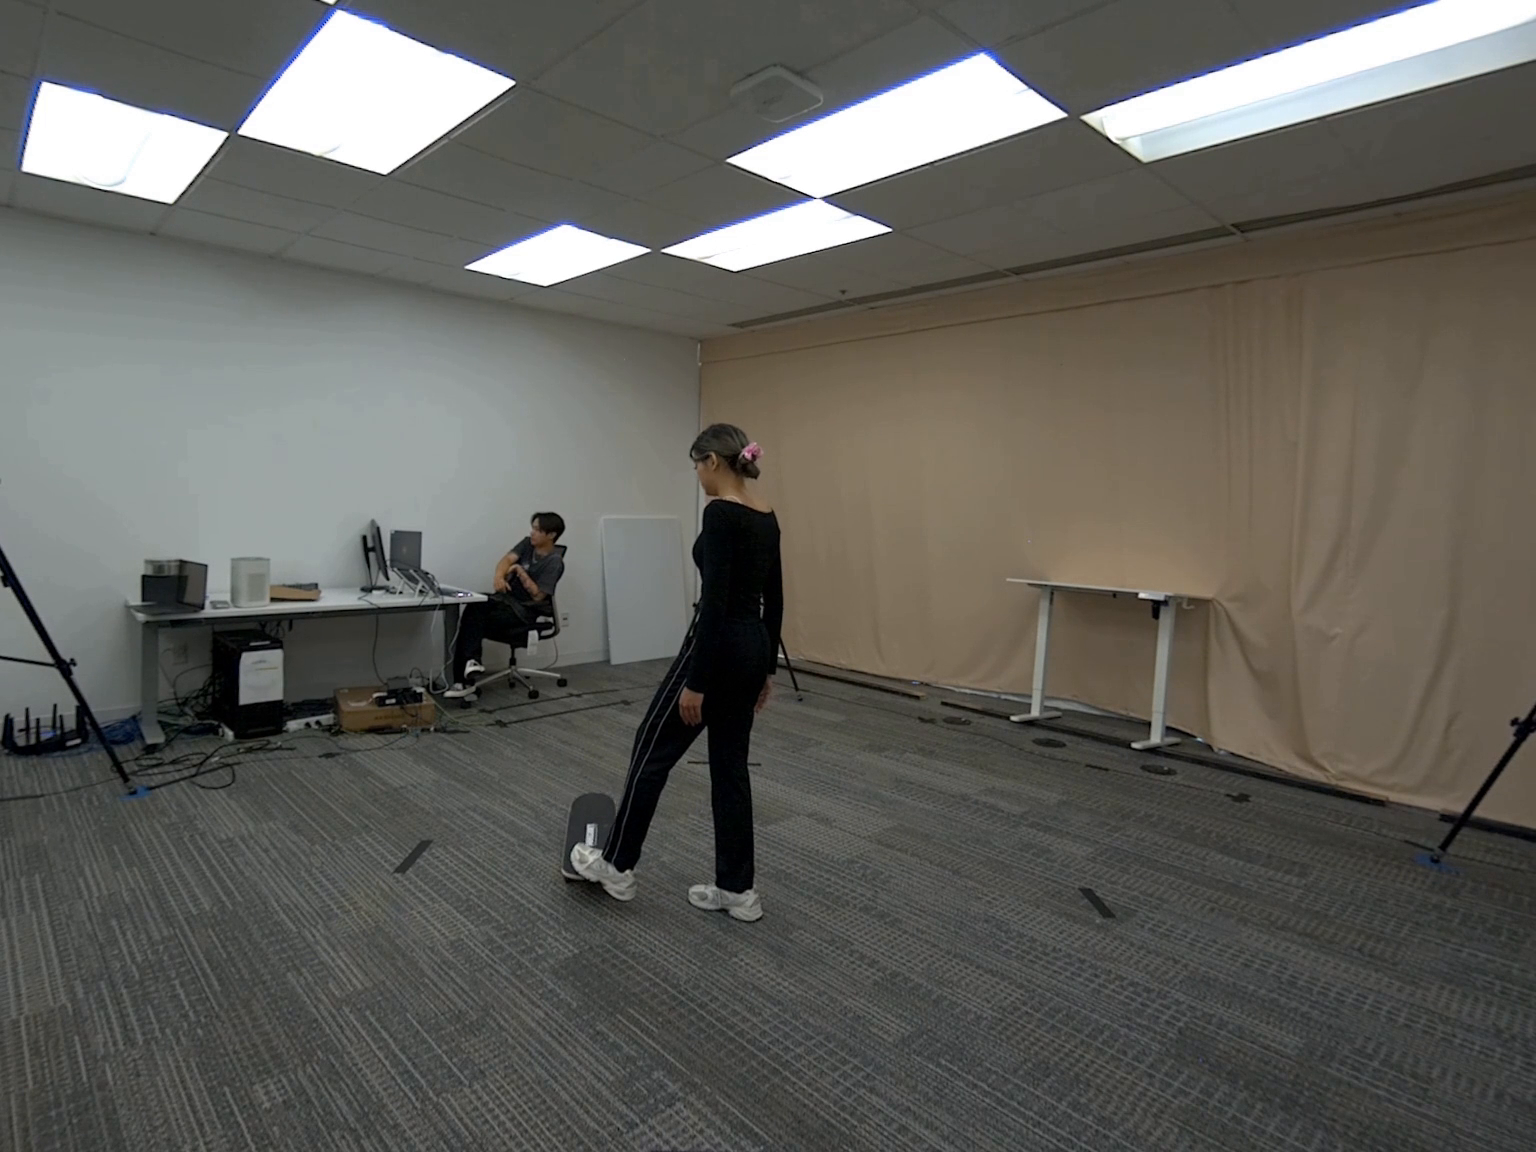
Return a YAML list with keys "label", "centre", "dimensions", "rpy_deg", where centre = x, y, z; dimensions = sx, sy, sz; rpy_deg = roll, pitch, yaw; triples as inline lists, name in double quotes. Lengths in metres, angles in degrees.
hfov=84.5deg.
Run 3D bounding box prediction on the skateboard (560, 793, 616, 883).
- label: "skateboard"
  centre: [-0.695, 1.029, 3.234]
  dimensions: [0.192, 0.110, 0.793]
  rpy_deg: [3, 6, -9]
